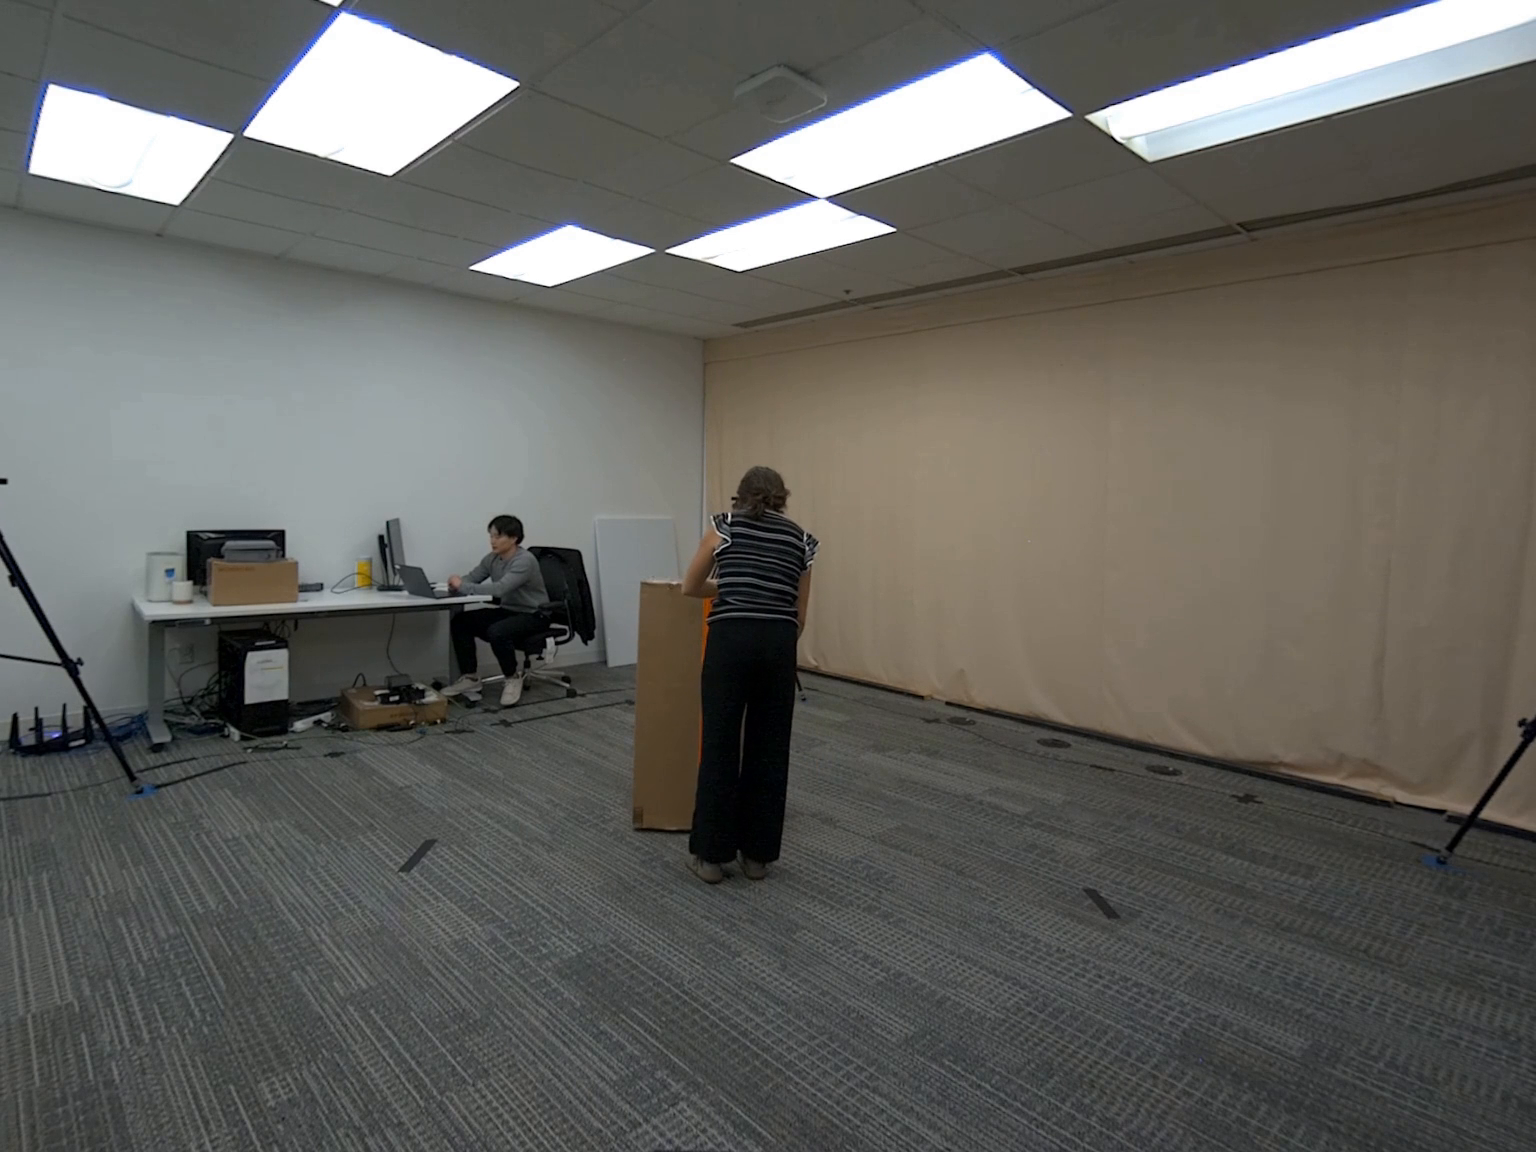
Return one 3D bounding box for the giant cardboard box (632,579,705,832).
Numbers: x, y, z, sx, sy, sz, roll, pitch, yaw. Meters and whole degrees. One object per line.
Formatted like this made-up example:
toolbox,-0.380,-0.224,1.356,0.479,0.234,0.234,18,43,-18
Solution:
giant cardboard box,-0.281,0.538,3.693,0.578,1.026,0.426,2,0,0
